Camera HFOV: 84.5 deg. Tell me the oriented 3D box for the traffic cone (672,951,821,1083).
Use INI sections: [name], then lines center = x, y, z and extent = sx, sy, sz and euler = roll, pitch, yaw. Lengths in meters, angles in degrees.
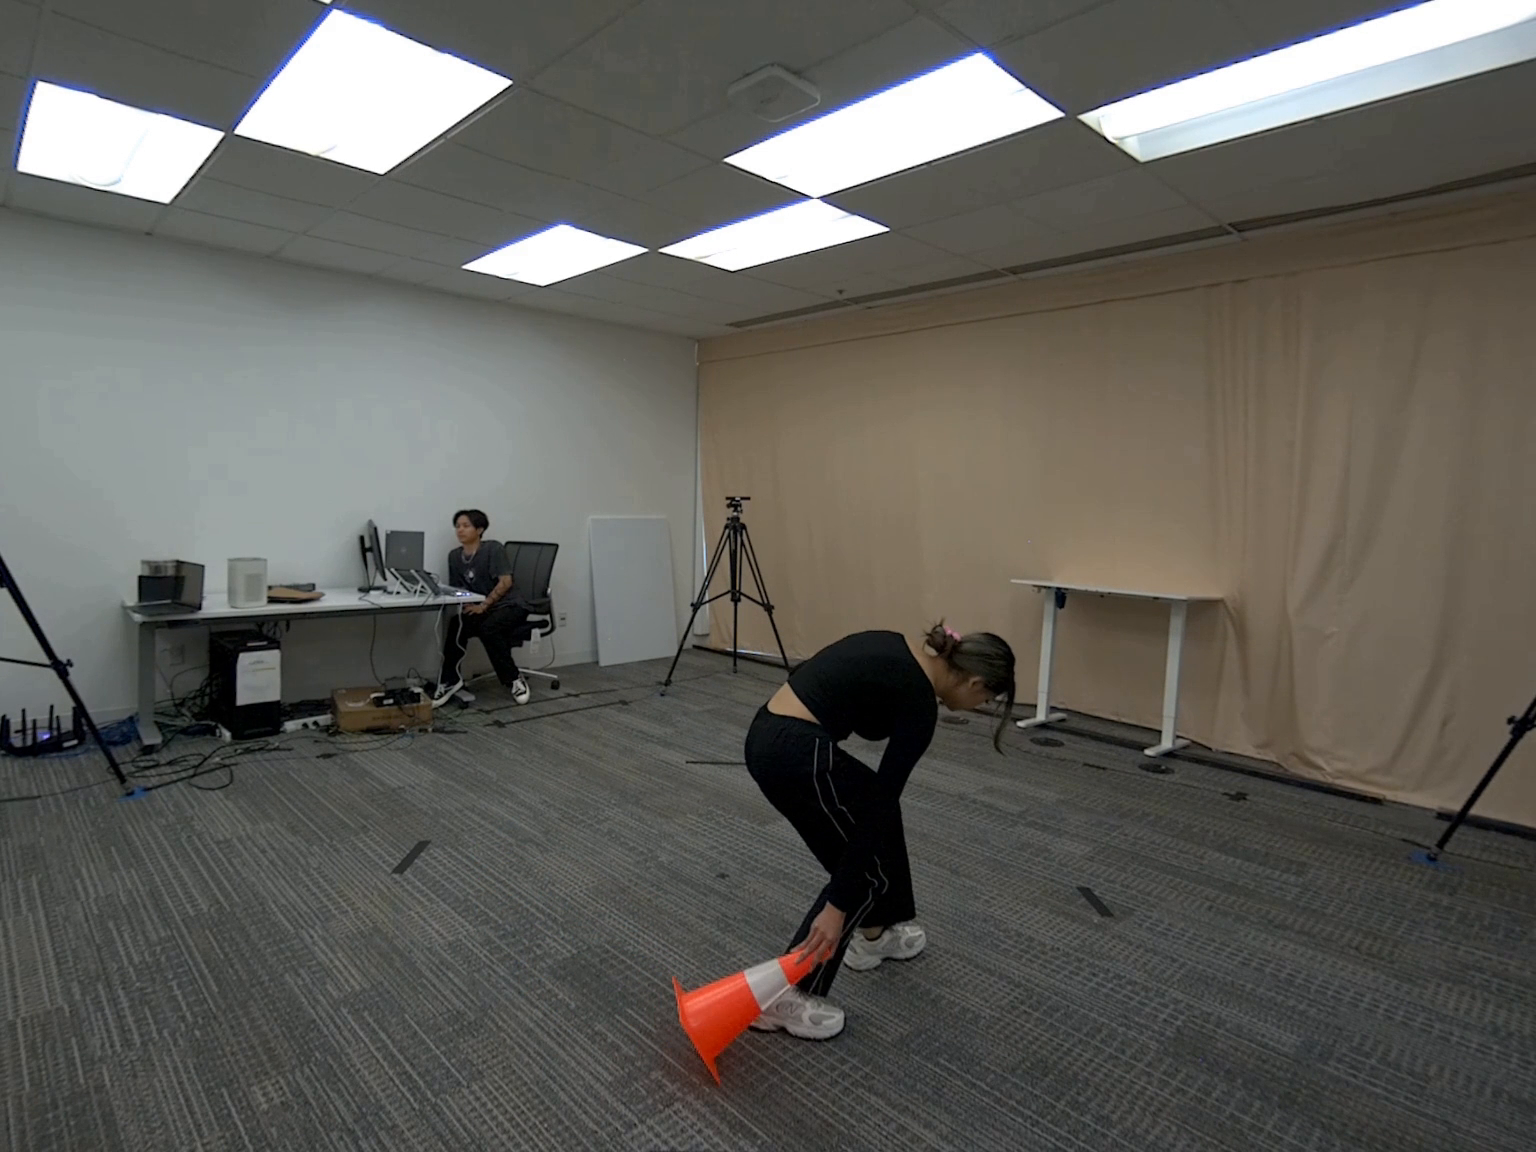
[traffic cone]
center = -0.022, 1.025, 2.089
extent = 0.383, 0.201, 0.208
euler = -28, 12, -5
